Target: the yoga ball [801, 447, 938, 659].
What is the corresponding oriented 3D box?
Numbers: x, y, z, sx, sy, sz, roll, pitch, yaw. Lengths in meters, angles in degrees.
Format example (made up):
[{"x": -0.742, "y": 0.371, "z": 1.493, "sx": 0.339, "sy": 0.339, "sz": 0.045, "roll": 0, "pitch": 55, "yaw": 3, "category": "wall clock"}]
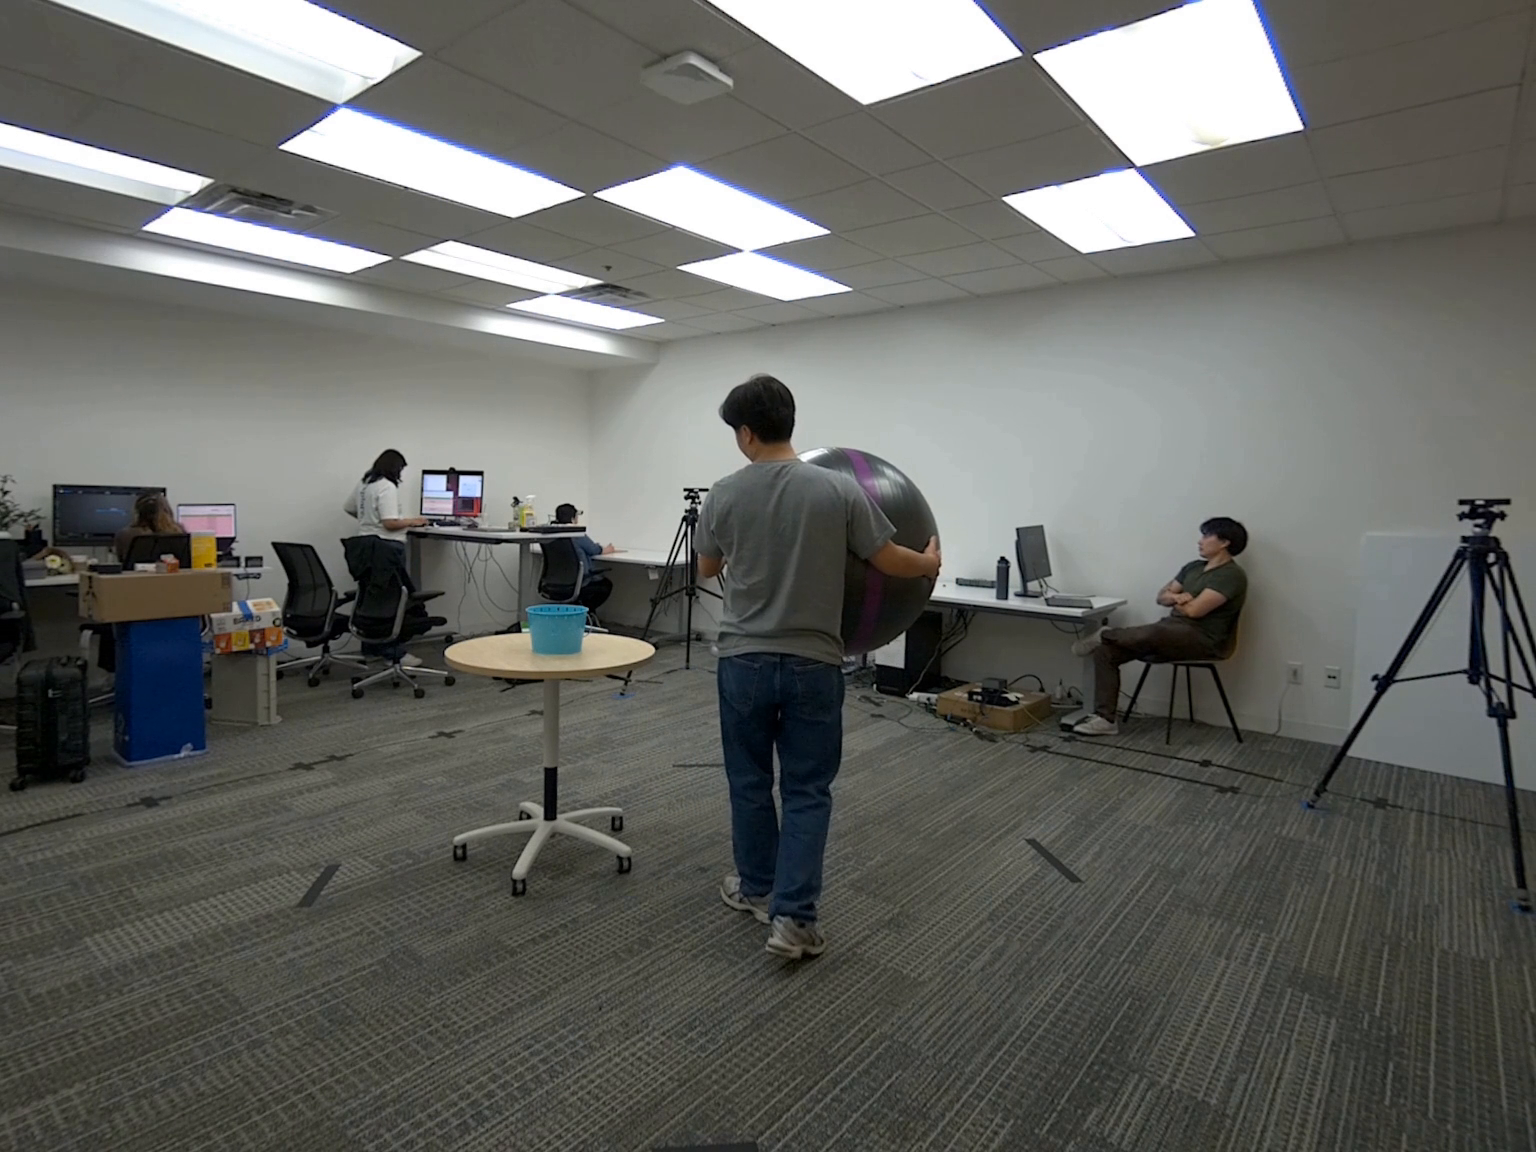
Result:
[{"x": 0.233, "y": -0.087, "z": 3.103, "sx": 0.757, "sy": 0.755, "sz": 0.762, "roll": 1, "pitch": 4, "yaw": -2, "category": "yoga ball"}]
